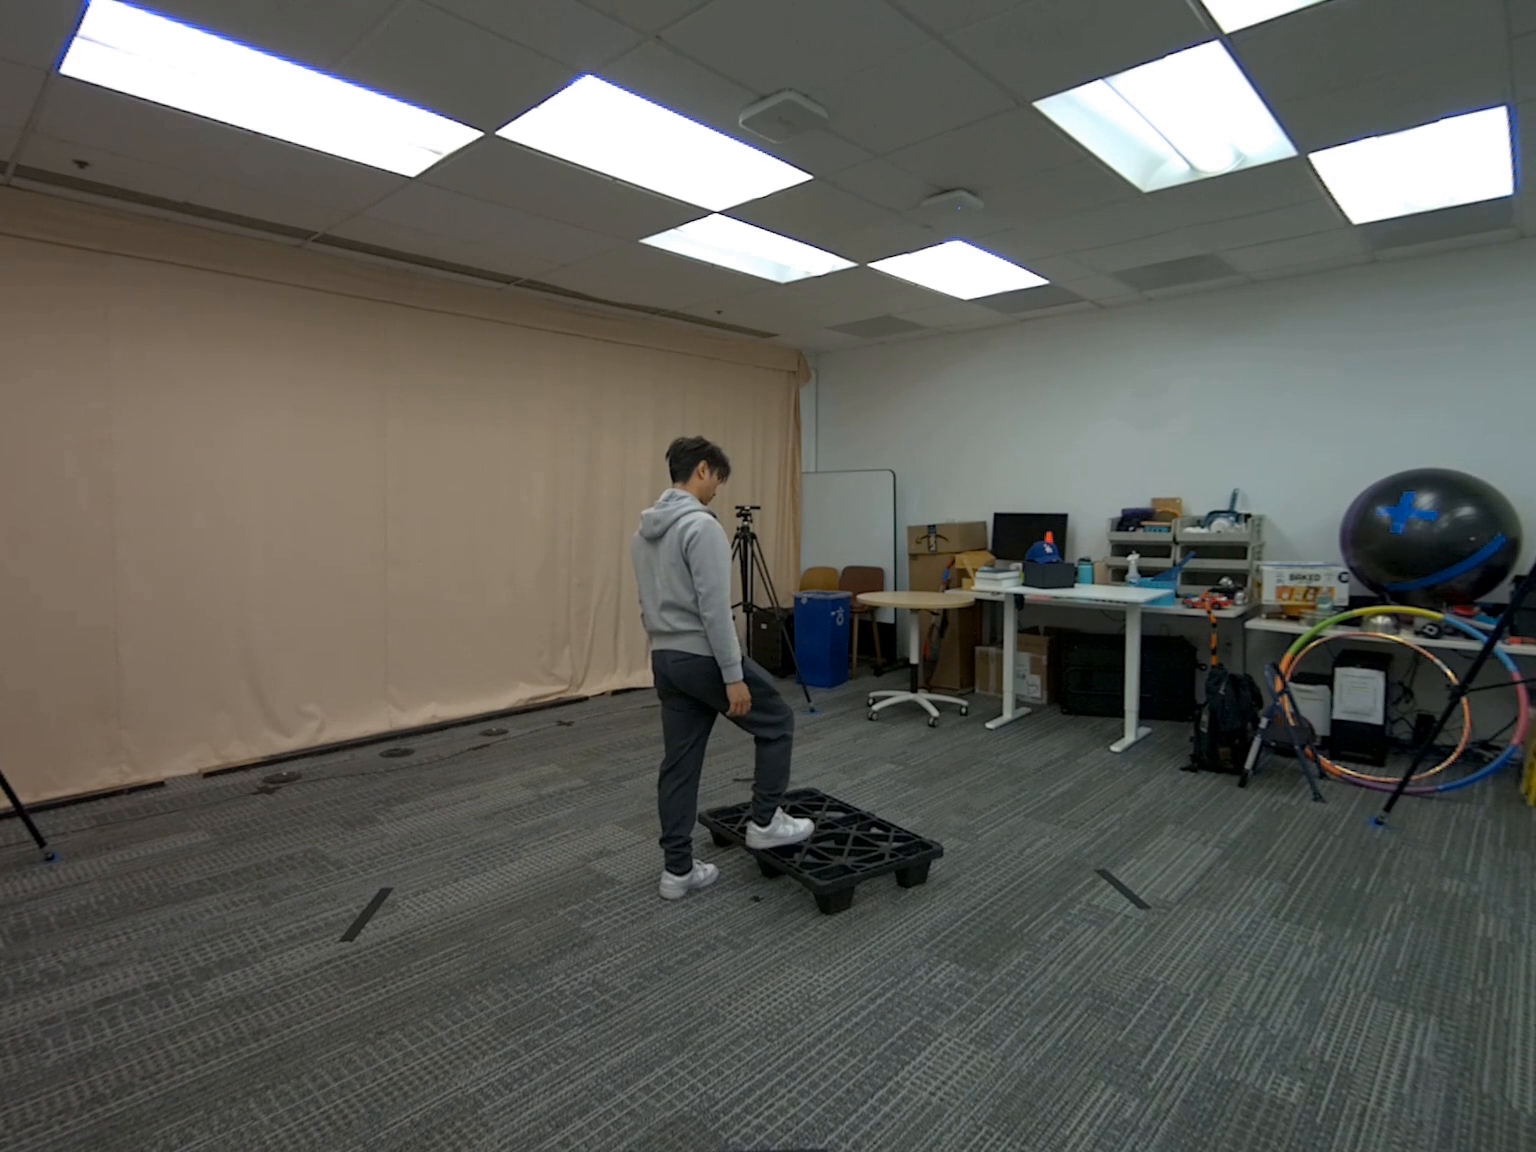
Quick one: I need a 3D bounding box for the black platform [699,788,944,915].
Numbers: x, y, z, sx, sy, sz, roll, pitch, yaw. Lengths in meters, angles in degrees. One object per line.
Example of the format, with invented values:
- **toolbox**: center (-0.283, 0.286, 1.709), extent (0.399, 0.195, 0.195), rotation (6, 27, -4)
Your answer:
- **black platform**: center (0.182, 1.052, 3.278), extent (0.588, 0.143, 0.831), rotation (-4, 6, -34)
